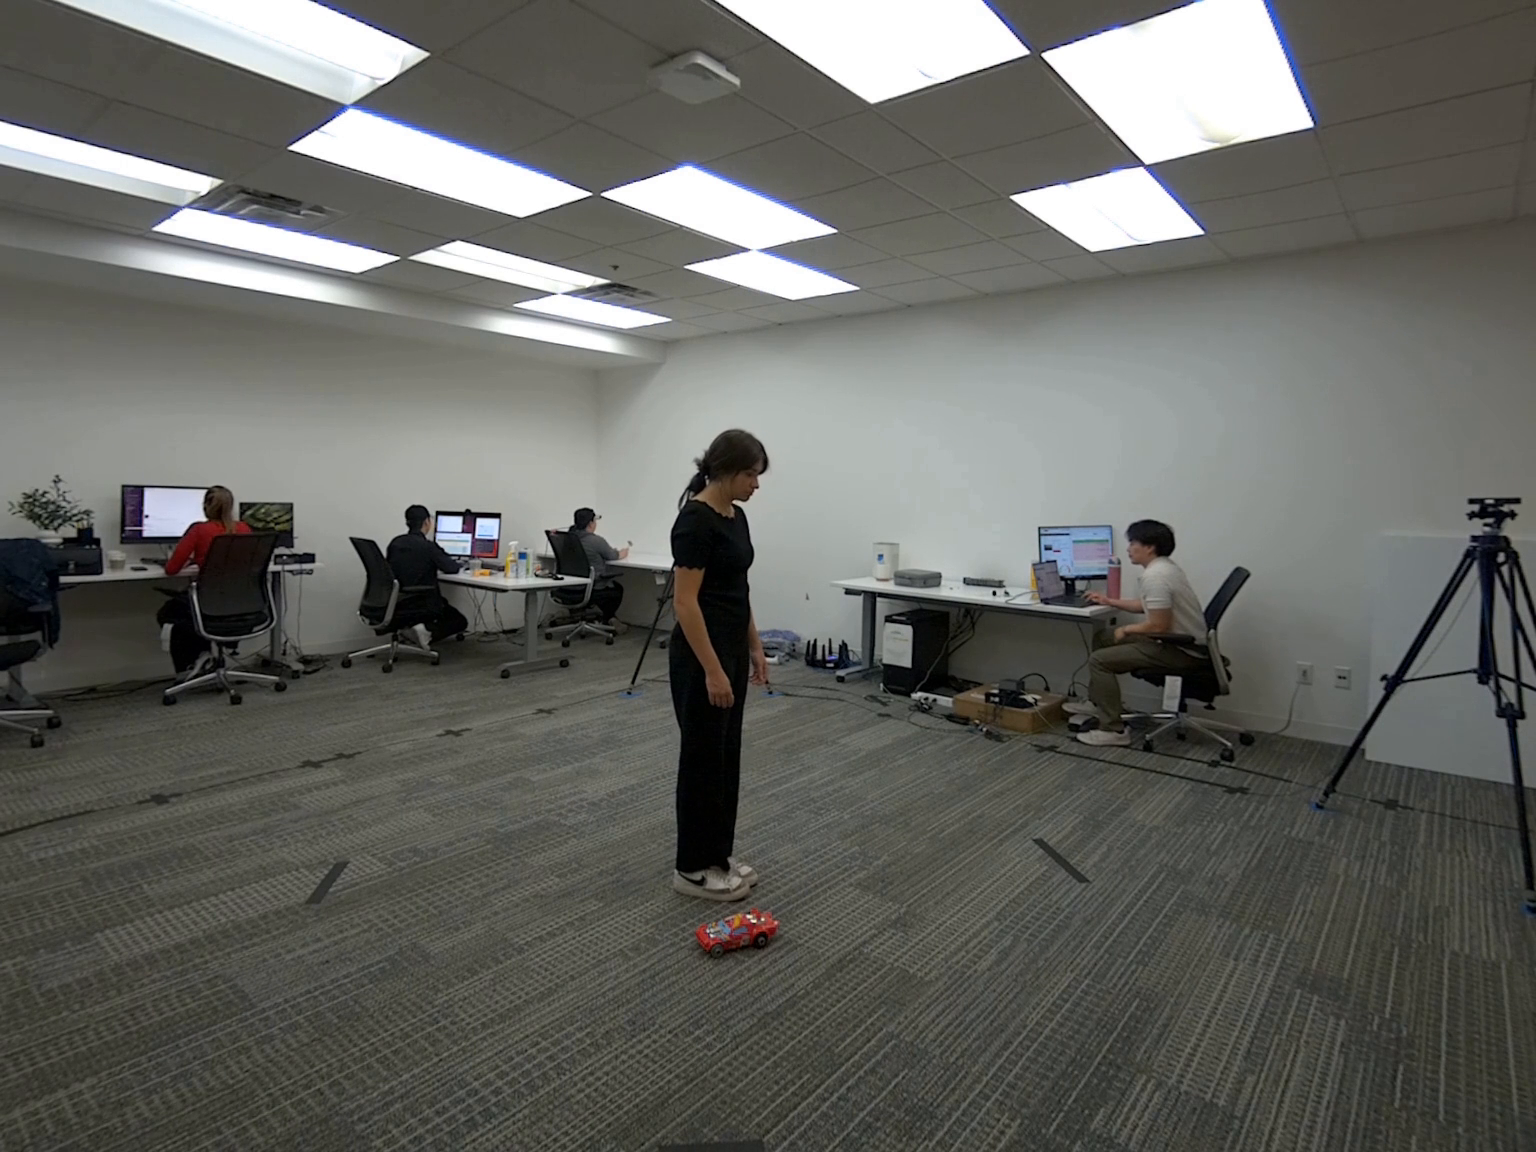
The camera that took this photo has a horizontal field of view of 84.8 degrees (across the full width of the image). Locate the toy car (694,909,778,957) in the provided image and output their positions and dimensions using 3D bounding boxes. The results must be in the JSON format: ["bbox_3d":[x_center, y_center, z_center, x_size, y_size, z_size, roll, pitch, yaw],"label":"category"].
[{"bbox_3d":[-0.094,1.087,2.595,0.250,0.082,0.134,-14,12,-23],"label":"toy car"}]
